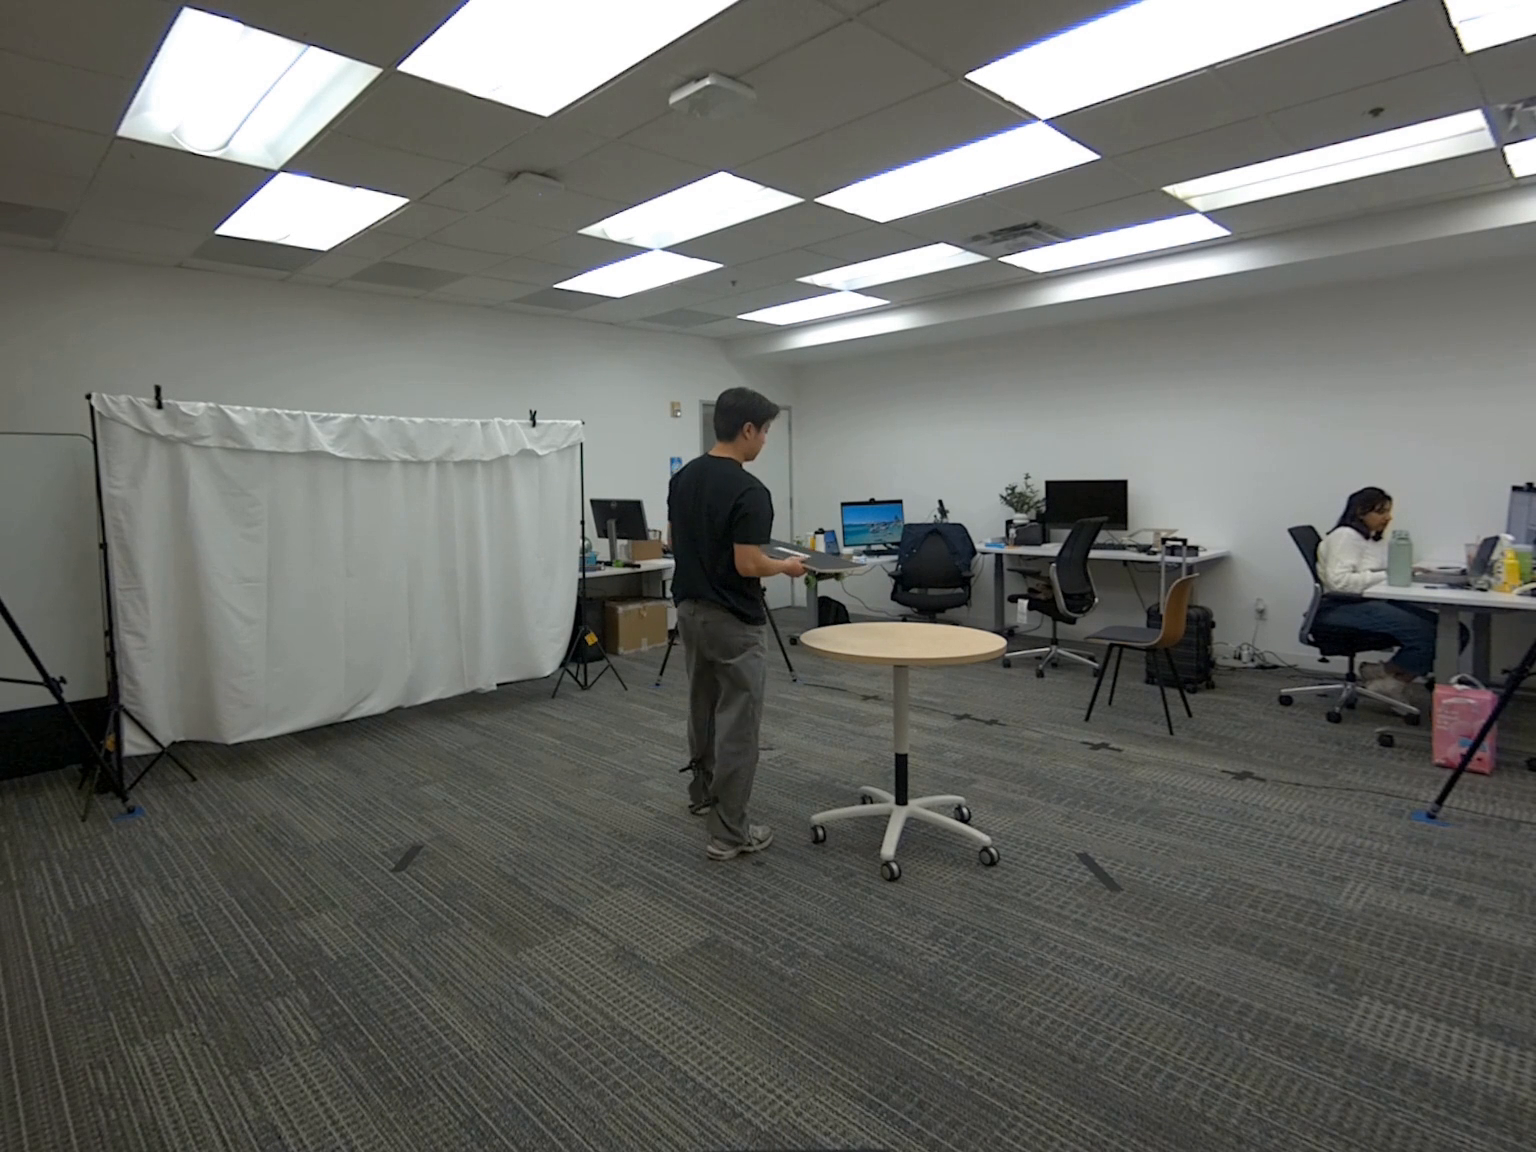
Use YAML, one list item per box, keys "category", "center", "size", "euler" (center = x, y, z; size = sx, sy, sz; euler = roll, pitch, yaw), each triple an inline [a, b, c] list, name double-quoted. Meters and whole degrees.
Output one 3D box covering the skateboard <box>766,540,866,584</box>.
- category: "skateboard"
  center: [0.090, -0.062, 3.480]
  size: [0.189, 0.109, 0.813]
  euler: [-13, 19, -37]
